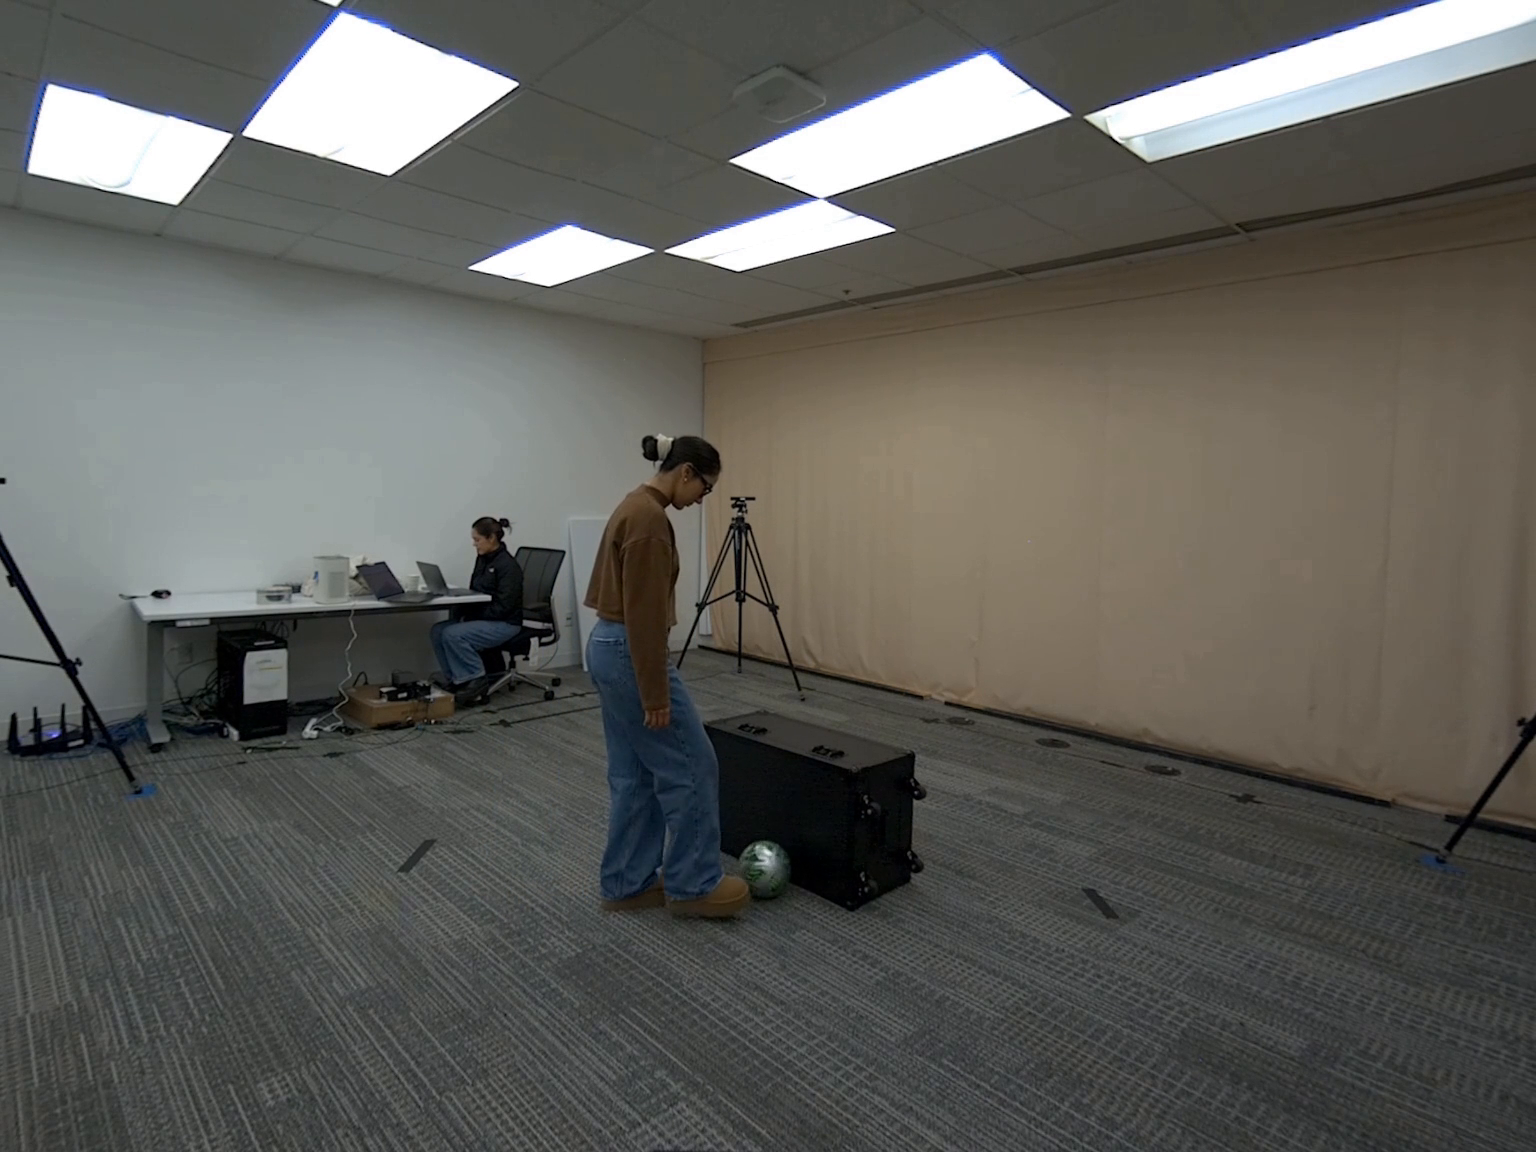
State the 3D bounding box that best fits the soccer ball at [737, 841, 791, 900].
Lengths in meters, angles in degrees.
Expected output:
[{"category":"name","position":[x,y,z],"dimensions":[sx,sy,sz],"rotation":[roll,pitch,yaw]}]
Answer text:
[{"category":"soccer ball","position":[-0.024,1.023,2.952],"dimensions":[0.187,0.187,0.188],"rotation":[1,4,-1]}]
